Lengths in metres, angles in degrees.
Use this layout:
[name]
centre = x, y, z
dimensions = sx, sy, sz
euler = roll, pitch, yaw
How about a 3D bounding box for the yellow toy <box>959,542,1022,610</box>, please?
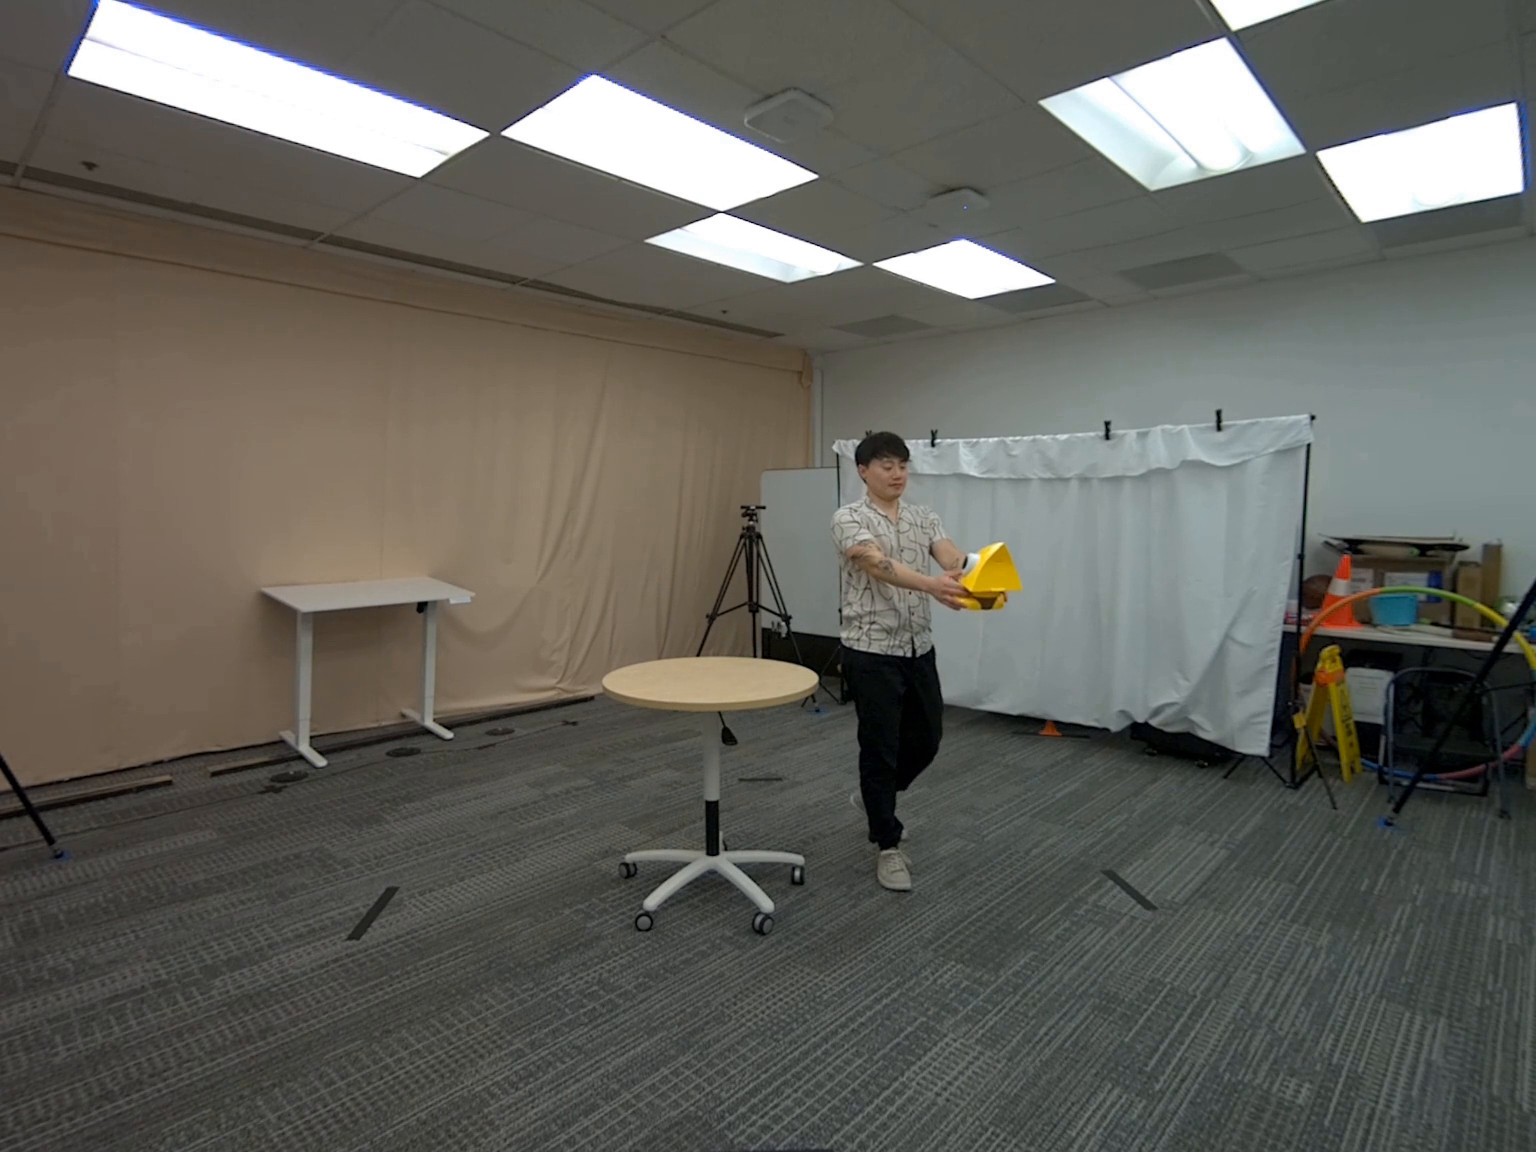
[yellow toy]
centre = 0.689, -0.018, 2.729
dimensions = 0.200, 0.228, 0.199
euler = -1, 25, -23
